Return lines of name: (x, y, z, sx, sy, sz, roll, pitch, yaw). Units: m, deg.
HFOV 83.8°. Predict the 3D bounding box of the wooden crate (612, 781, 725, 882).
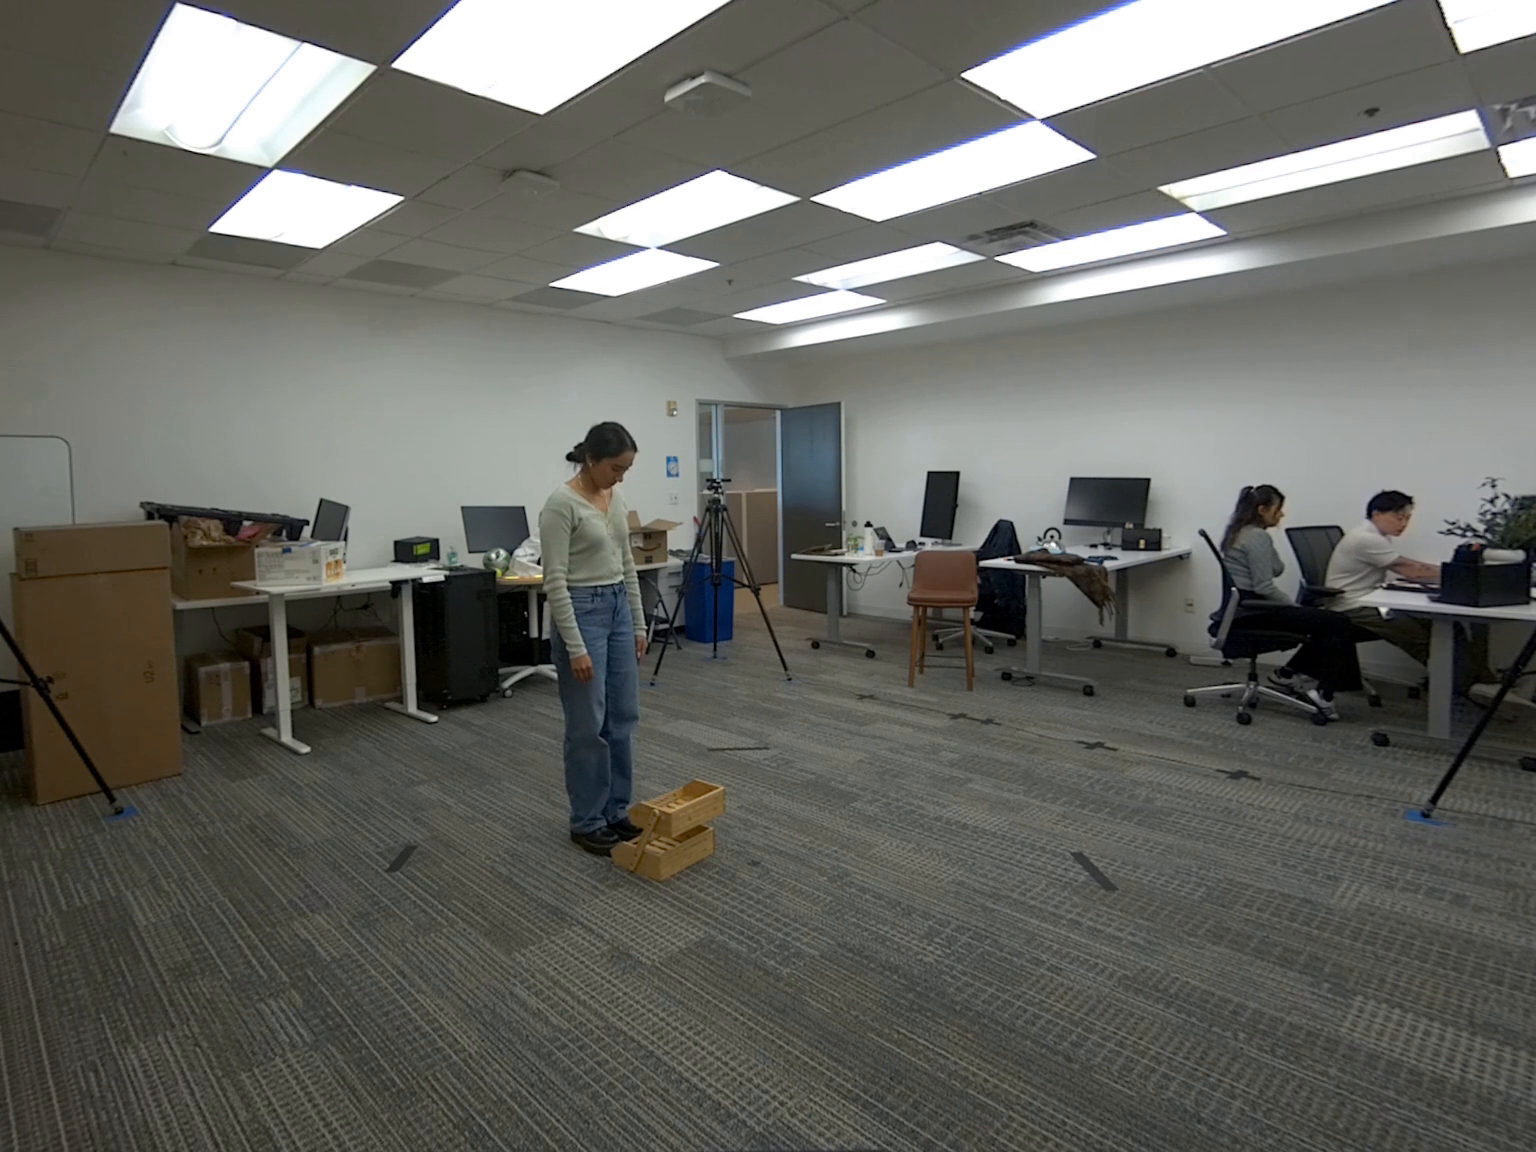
wooden crate: (-0.365, 0.912, 3.138, 0.311, 0.272, 0.316, 4, 7, 37)
